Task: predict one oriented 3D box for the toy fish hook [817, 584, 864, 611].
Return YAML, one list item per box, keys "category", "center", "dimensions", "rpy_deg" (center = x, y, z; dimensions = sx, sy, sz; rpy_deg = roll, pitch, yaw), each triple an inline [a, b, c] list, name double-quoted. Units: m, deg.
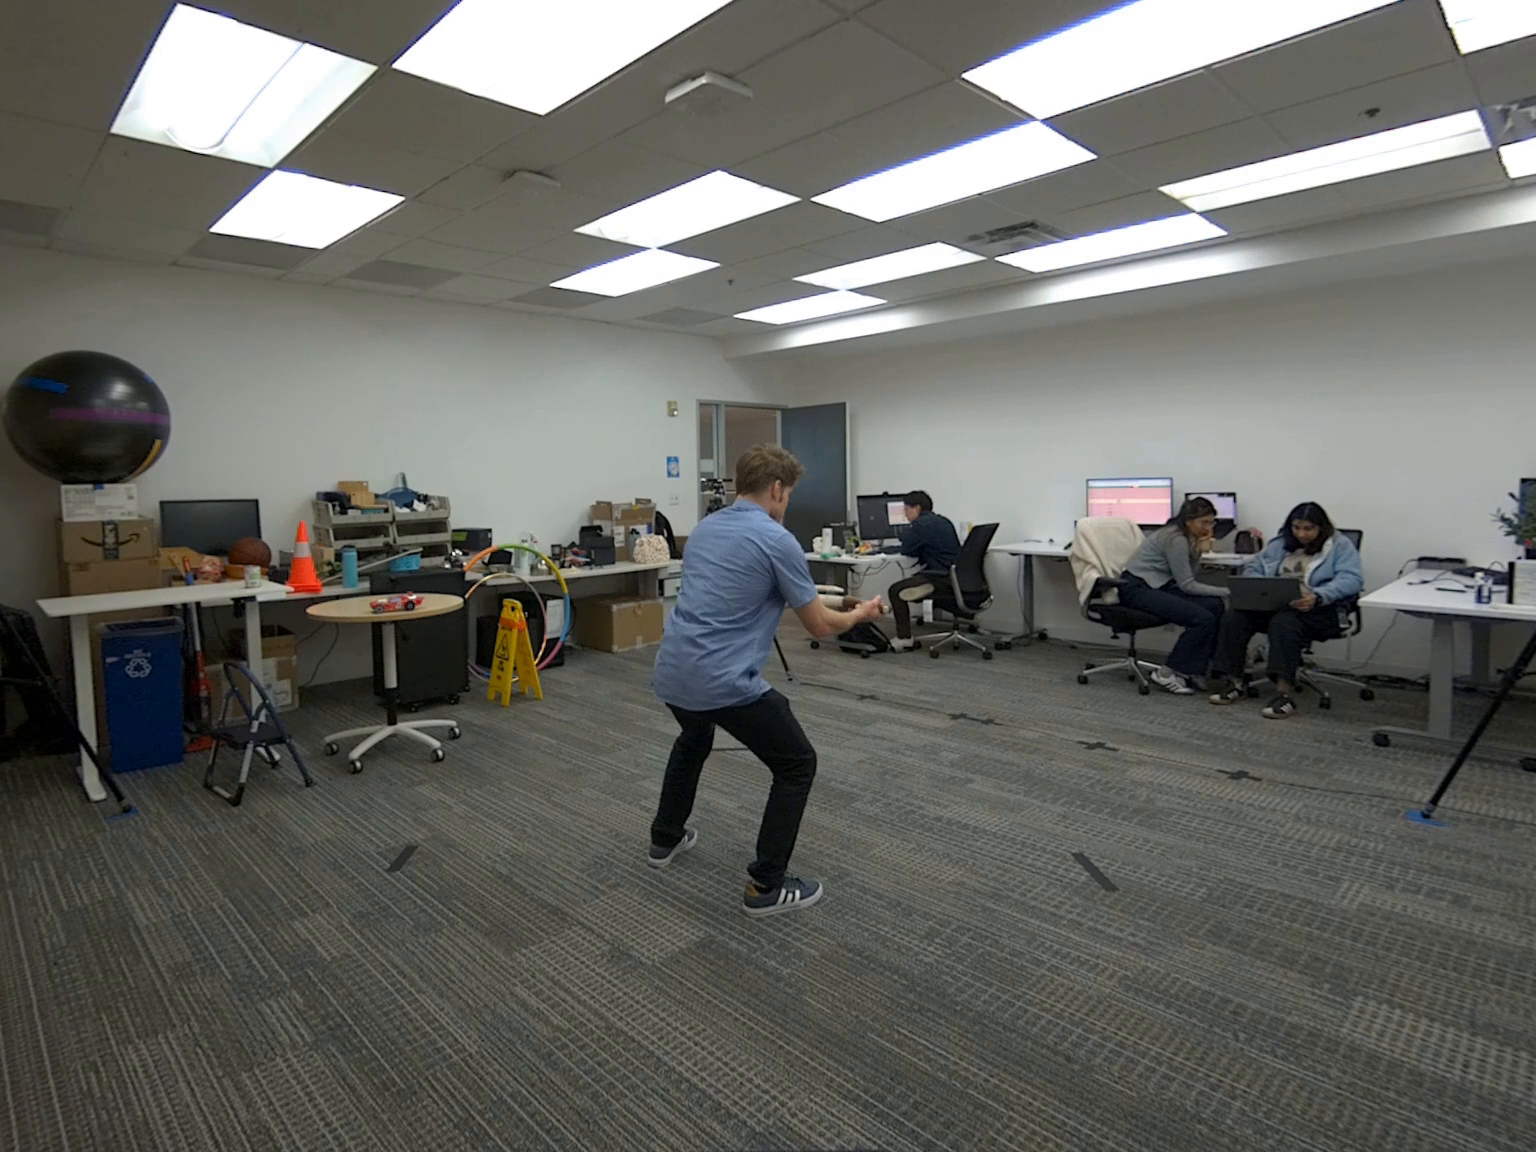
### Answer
- category: "toy fish hook"
  center: [0.266, 0.079, 3.186]
  dimensions: [0.523, 0.047, 0.220]
  rpy_deg: [7, 20, 40]
